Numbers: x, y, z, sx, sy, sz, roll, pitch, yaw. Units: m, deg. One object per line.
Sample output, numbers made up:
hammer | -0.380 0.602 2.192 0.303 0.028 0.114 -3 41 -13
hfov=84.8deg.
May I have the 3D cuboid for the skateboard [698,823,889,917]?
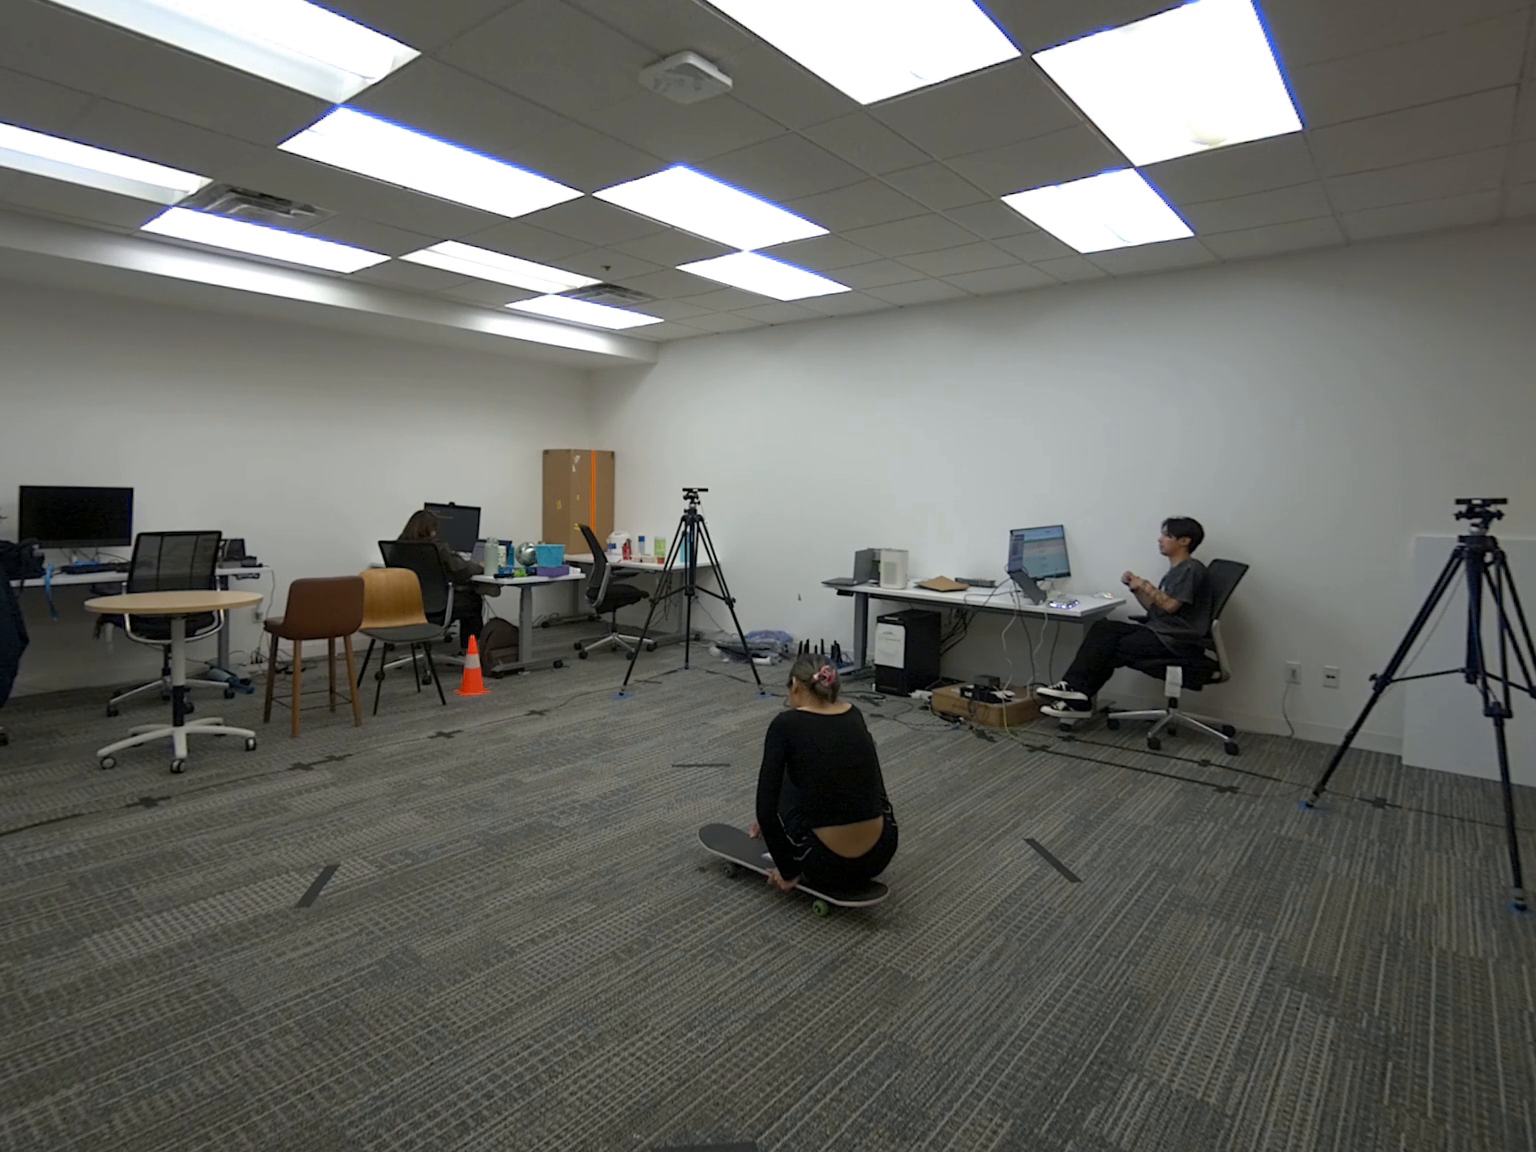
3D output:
skateboard | 0.058 1.031 2.978 0.812 0.109 0.188 6 11 40
